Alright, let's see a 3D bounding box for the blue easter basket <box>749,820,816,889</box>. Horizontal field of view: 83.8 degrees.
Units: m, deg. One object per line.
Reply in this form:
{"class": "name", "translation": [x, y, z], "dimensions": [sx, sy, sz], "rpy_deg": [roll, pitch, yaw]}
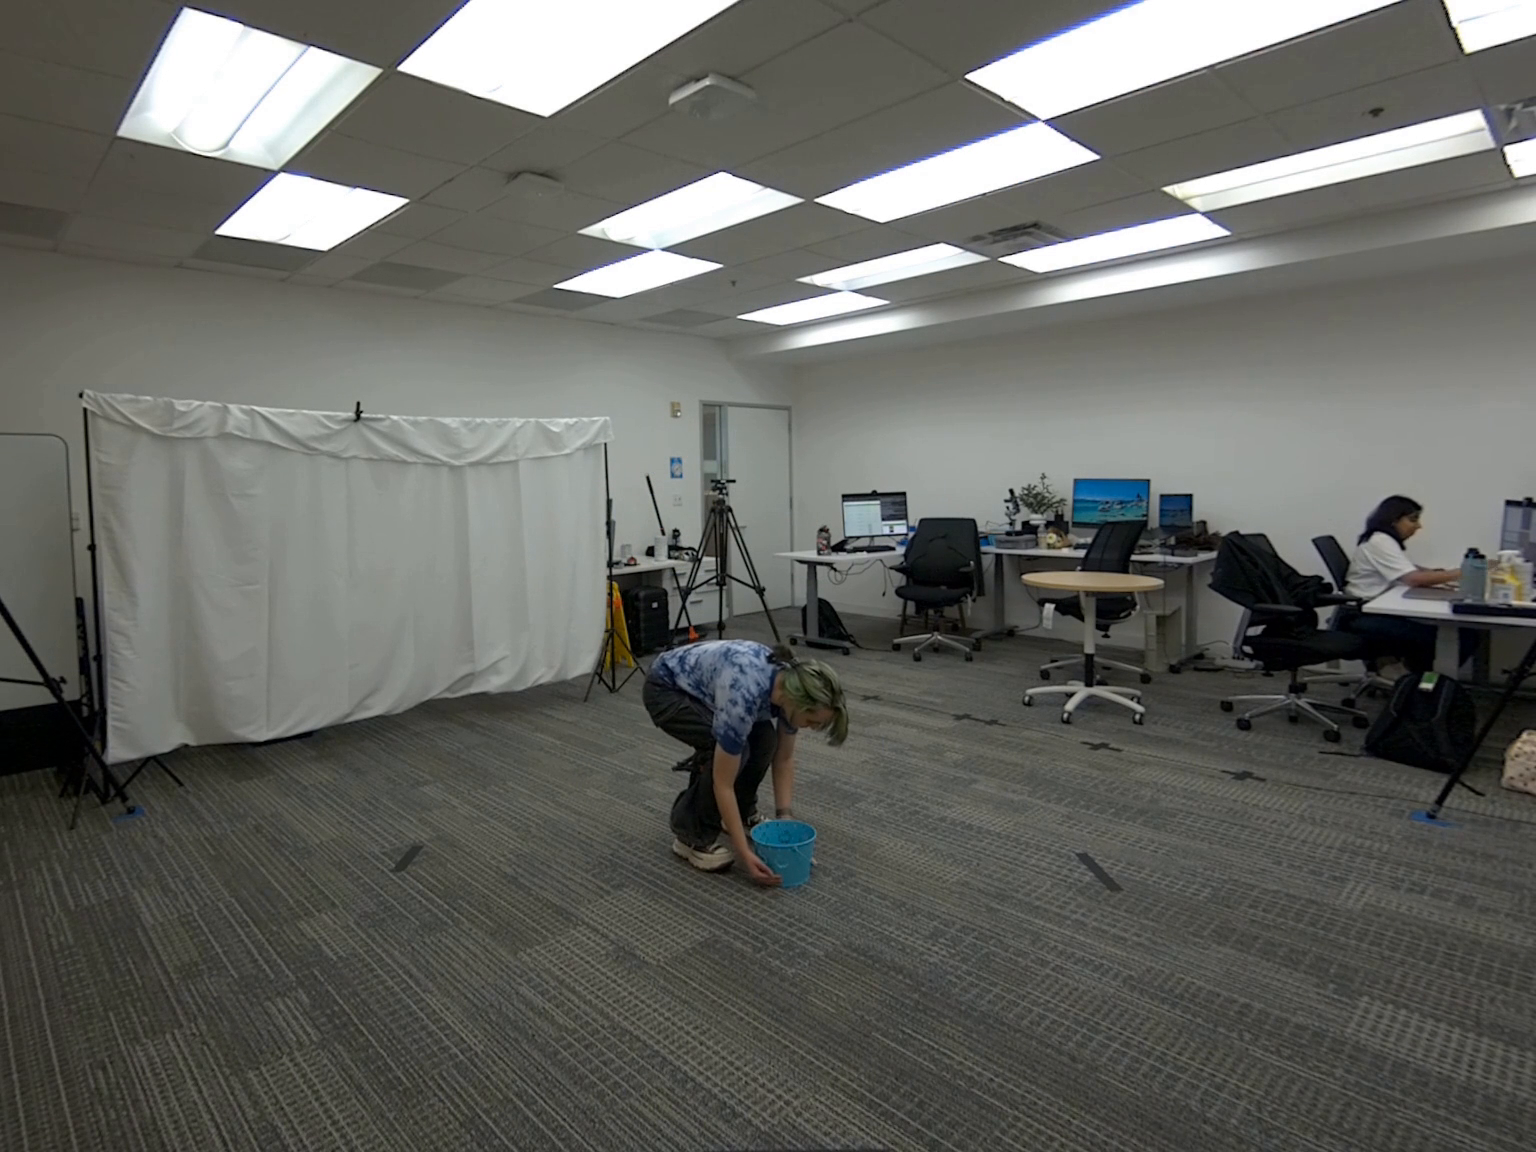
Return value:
{"class": "blue easter basket", "translation": [0.048, 0.978, 3.018], "dimensions": [0.243, 0.155, 0.245], "rpy_deg": [-2, 6, -1]}
